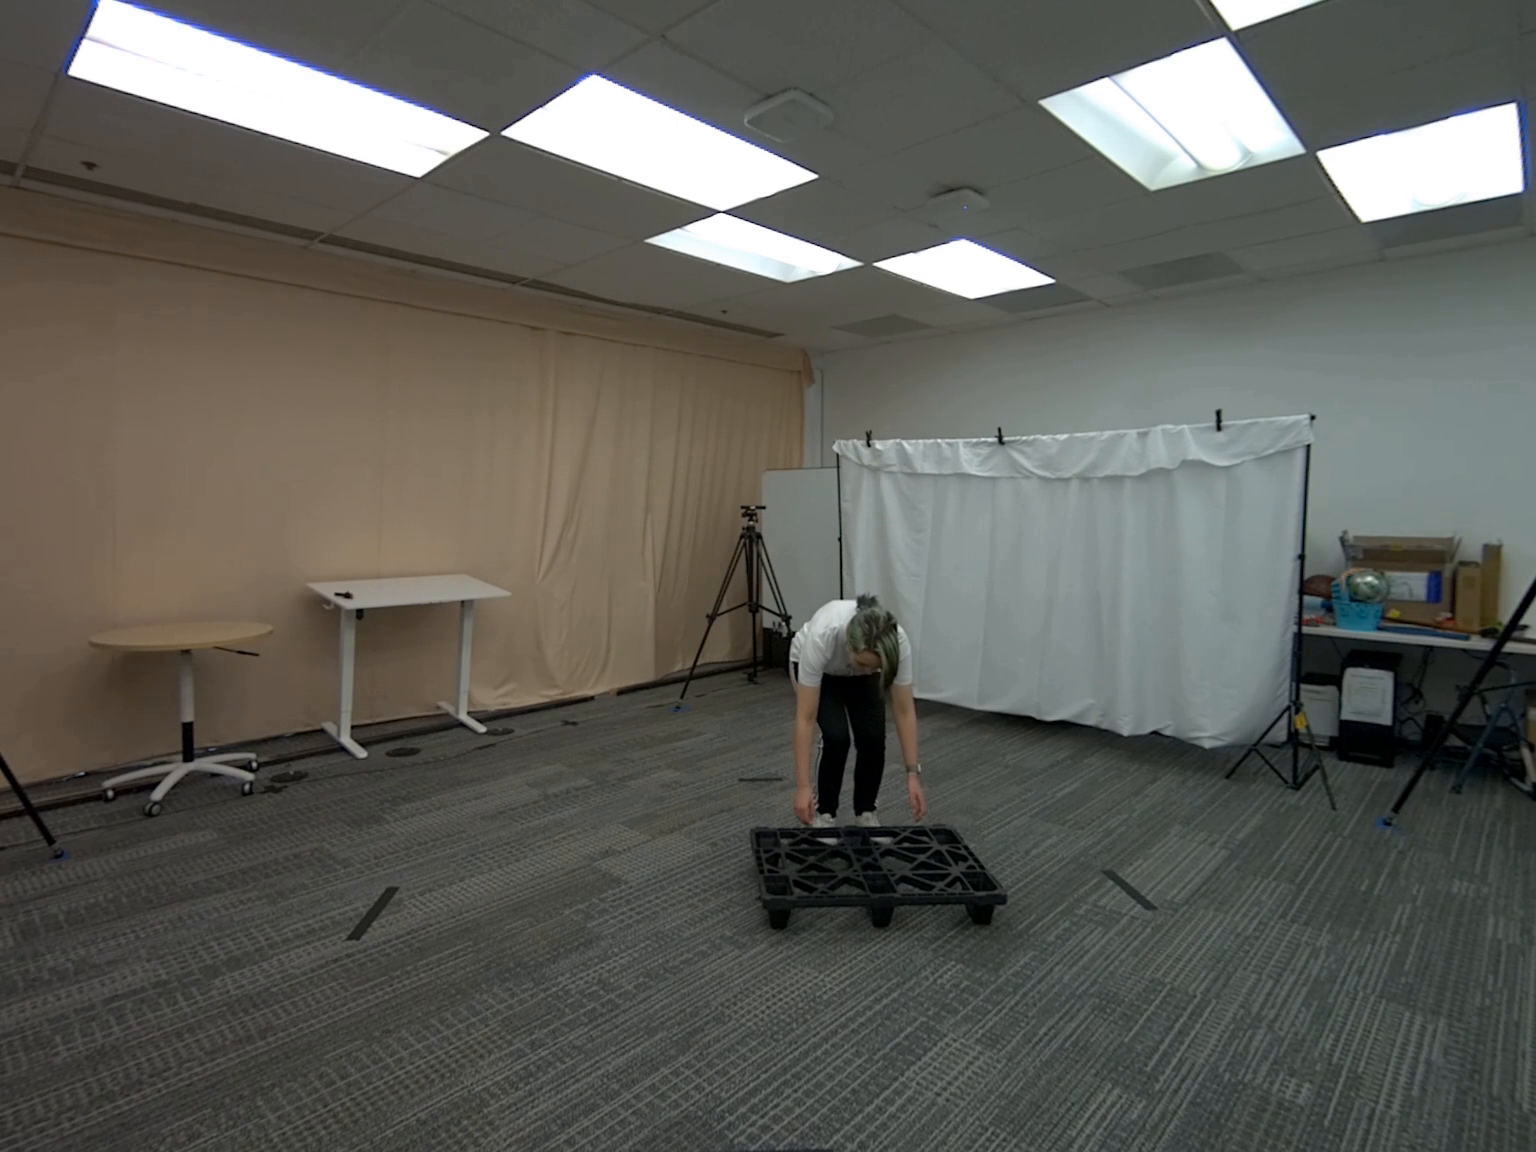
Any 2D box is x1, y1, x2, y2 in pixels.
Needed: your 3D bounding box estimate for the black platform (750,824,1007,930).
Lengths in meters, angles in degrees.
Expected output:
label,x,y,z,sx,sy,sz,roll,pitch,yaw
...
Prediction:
label,x,y,z,sx,sy,sz,roll,pitch,yaw
black platform,0.352,1.069,3.011,0.804,0.143,0.608,0,4,-3
